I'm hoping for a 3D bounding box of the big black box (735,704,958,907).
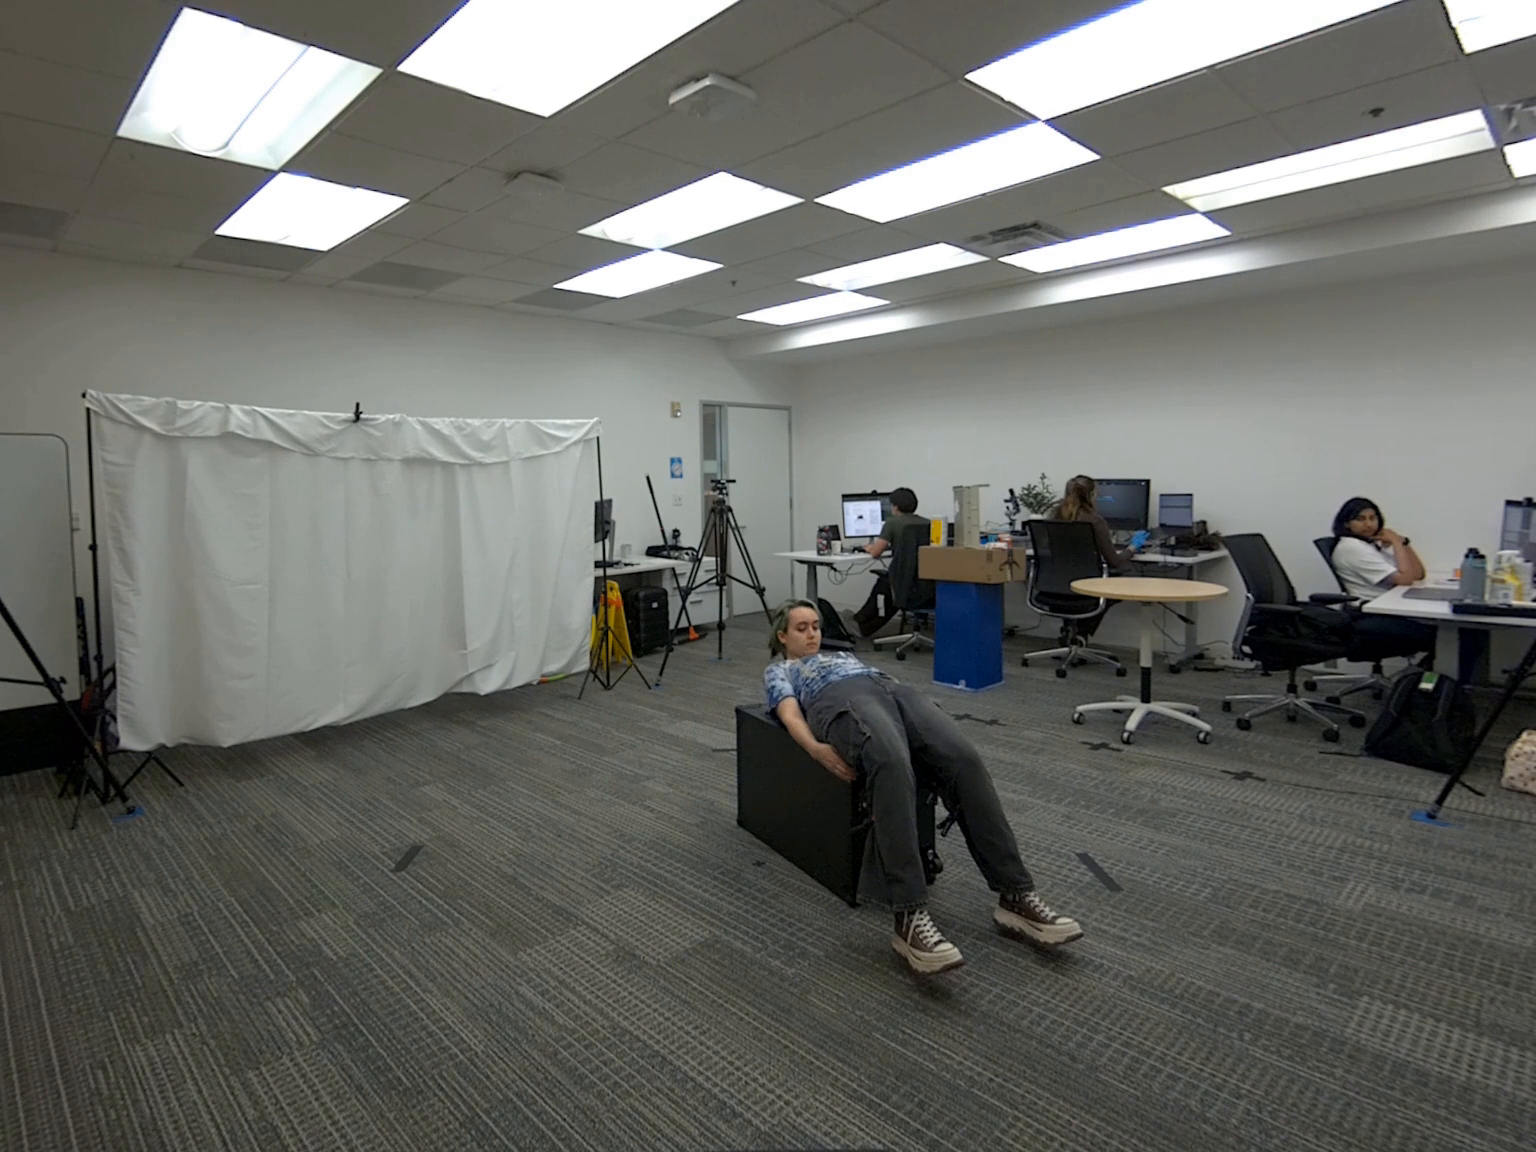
[{"bbox_3d":[0.247,0.795,3.161,0.387,0.519,0.885,-4,7,-28],"label":"big black box"}]
